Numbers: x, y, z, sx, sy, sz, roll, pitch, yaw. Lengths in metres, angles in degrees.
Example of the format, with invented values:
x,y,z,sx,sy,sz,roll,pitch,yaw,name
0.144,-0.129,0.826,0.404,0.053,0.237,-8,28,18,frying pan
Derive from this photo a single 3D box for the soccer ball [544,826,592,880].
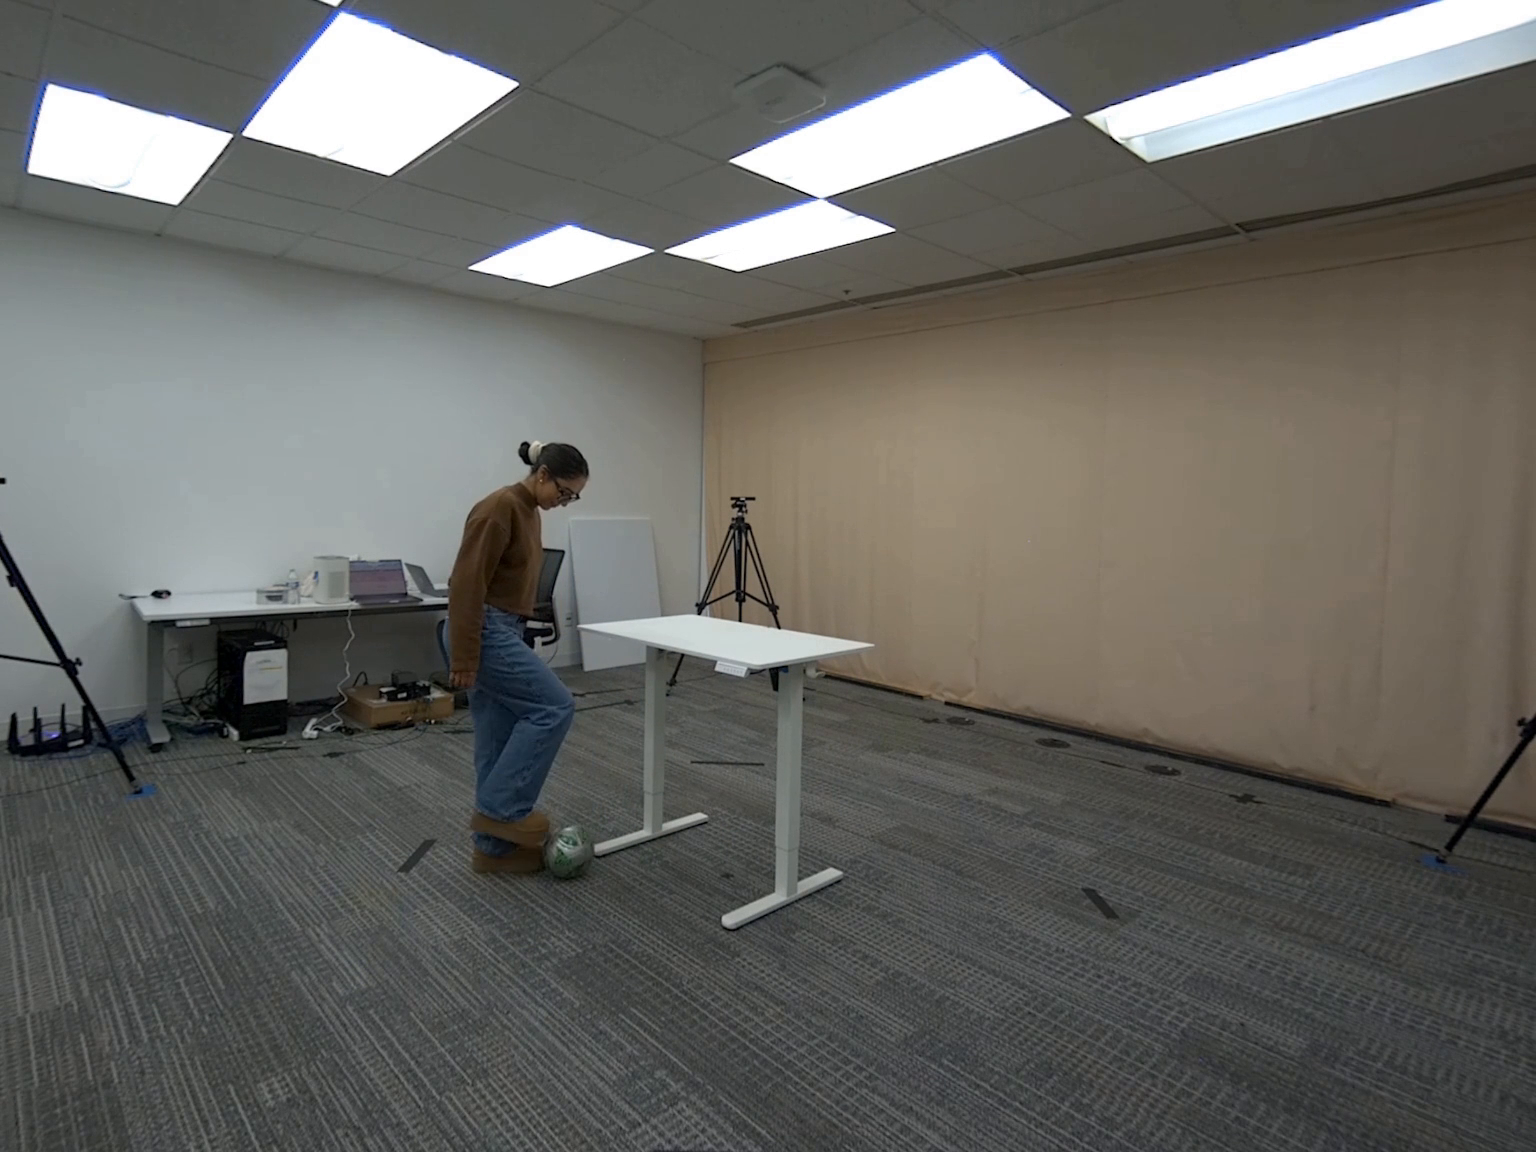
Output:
x,y,z,sx,sy,sz,roll,pitch,yaw,name
-0.731,1.007,3.063,0.187,0.187,0.188,1,4,-1,soccer ball
